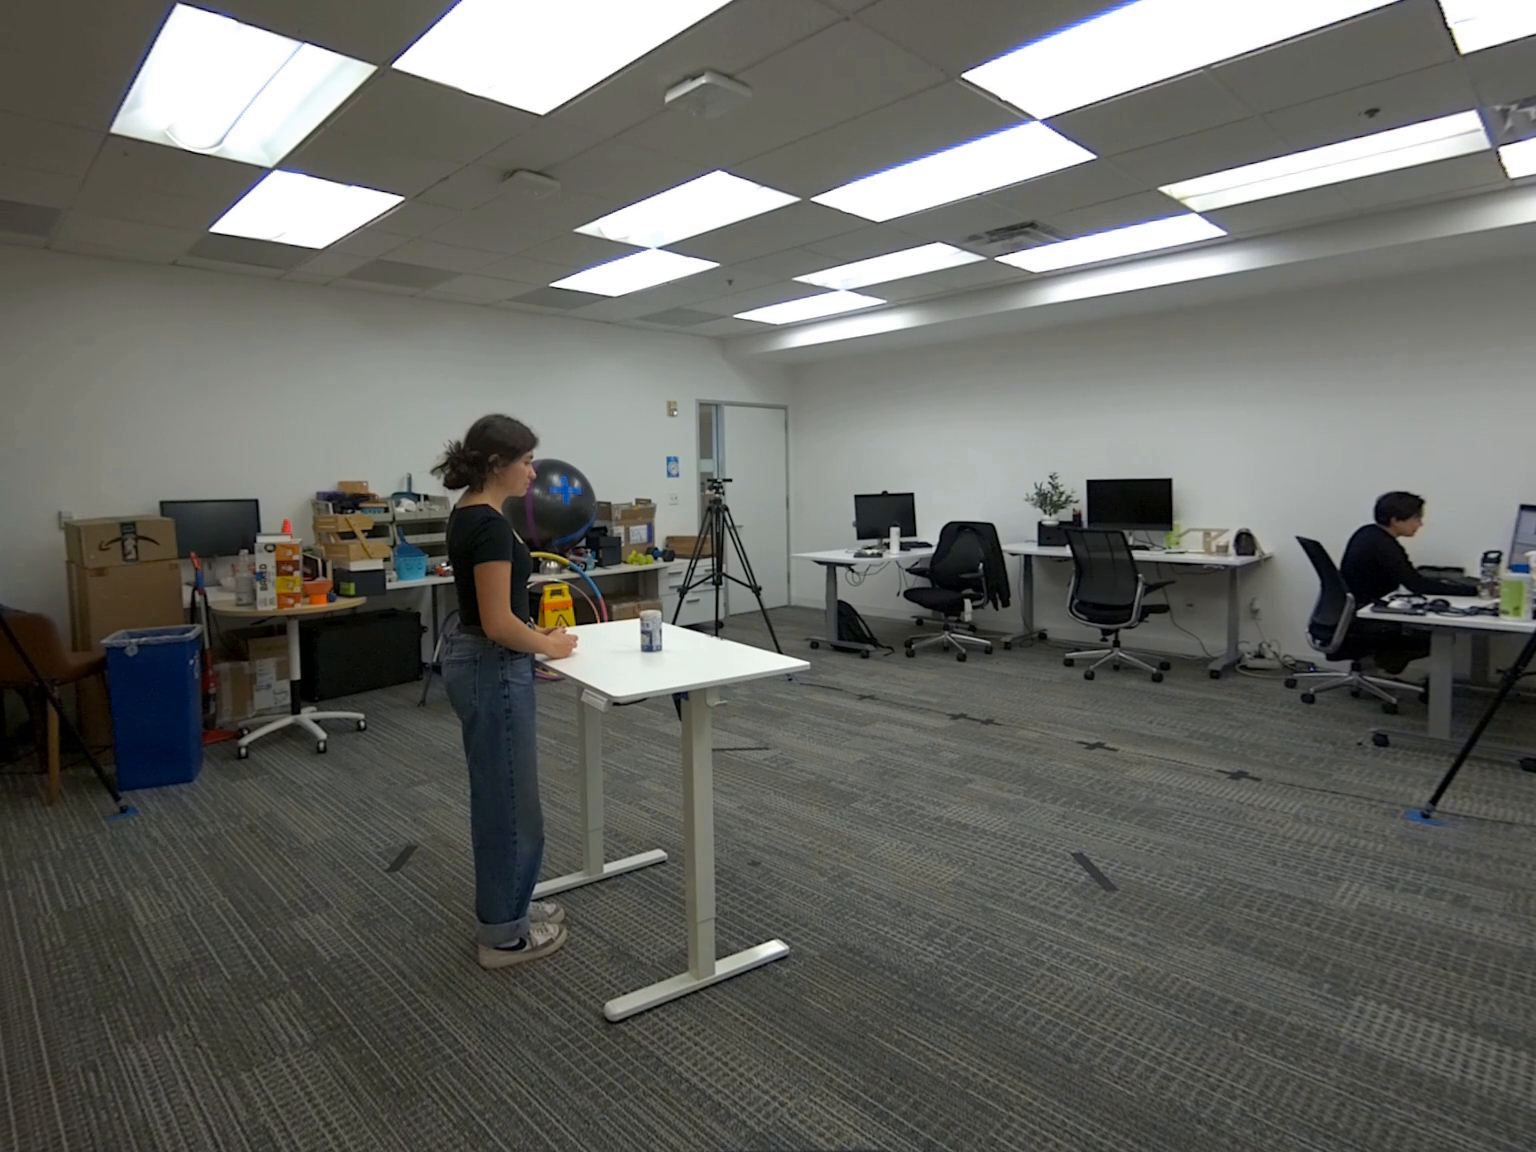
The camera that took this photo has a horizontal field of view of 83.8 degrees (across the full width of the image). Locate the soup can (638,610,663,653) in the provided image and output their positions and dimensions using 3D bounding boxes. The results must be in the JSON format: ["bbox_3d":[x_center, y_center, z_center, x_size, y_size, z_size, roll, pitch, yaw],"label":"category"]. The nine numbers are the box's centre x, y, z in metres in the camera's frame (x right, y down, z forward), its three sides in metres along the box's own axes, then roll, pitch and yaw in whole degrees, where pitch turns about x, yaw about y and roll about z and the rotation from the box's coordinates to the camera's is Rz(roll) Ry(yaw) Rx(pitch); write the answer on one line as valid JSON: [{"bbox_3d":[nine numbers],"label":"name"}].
[{"bbox_3d":[-0.350,0.169,2.596,0.067,0.121,0.067,-2,6,-1],"label":"soup can"}]
